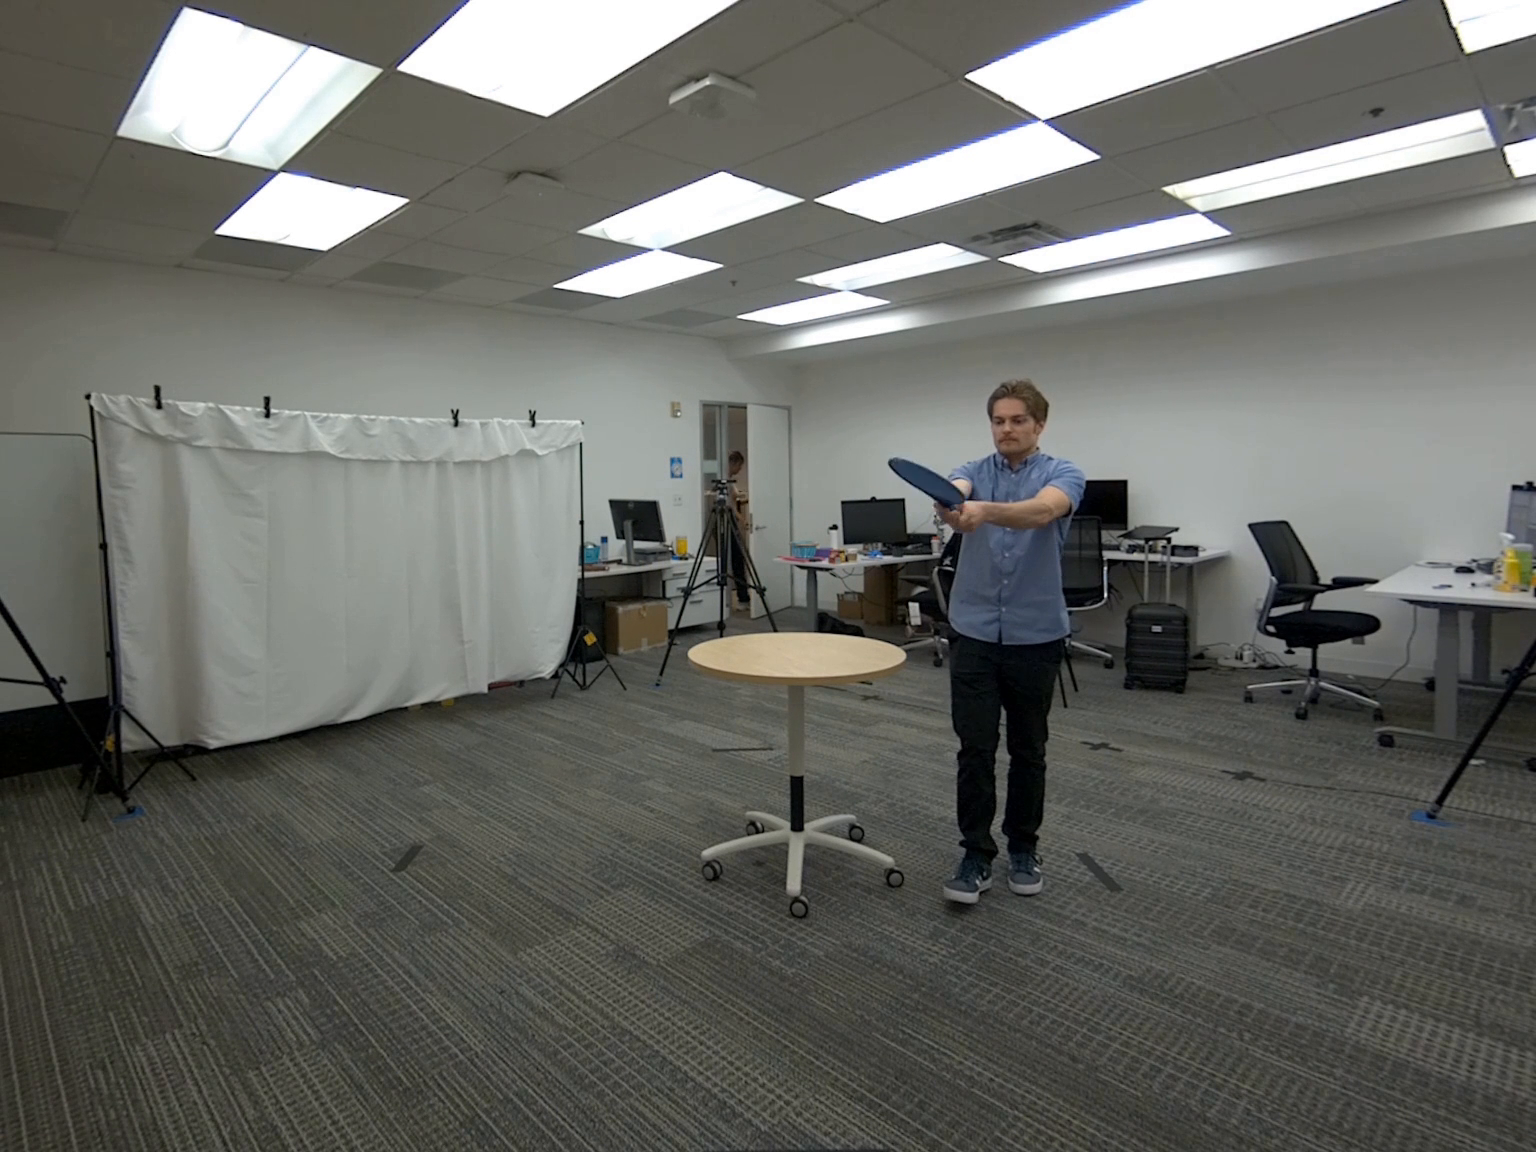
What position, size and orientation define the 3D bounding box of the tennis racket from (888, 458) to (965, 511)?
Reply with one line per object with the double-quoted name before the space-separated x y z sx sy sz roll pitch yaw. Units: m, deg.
"tennis racket" 0.467 -0.227 2.324 0.222 0.032 0.417 29 -2 36
